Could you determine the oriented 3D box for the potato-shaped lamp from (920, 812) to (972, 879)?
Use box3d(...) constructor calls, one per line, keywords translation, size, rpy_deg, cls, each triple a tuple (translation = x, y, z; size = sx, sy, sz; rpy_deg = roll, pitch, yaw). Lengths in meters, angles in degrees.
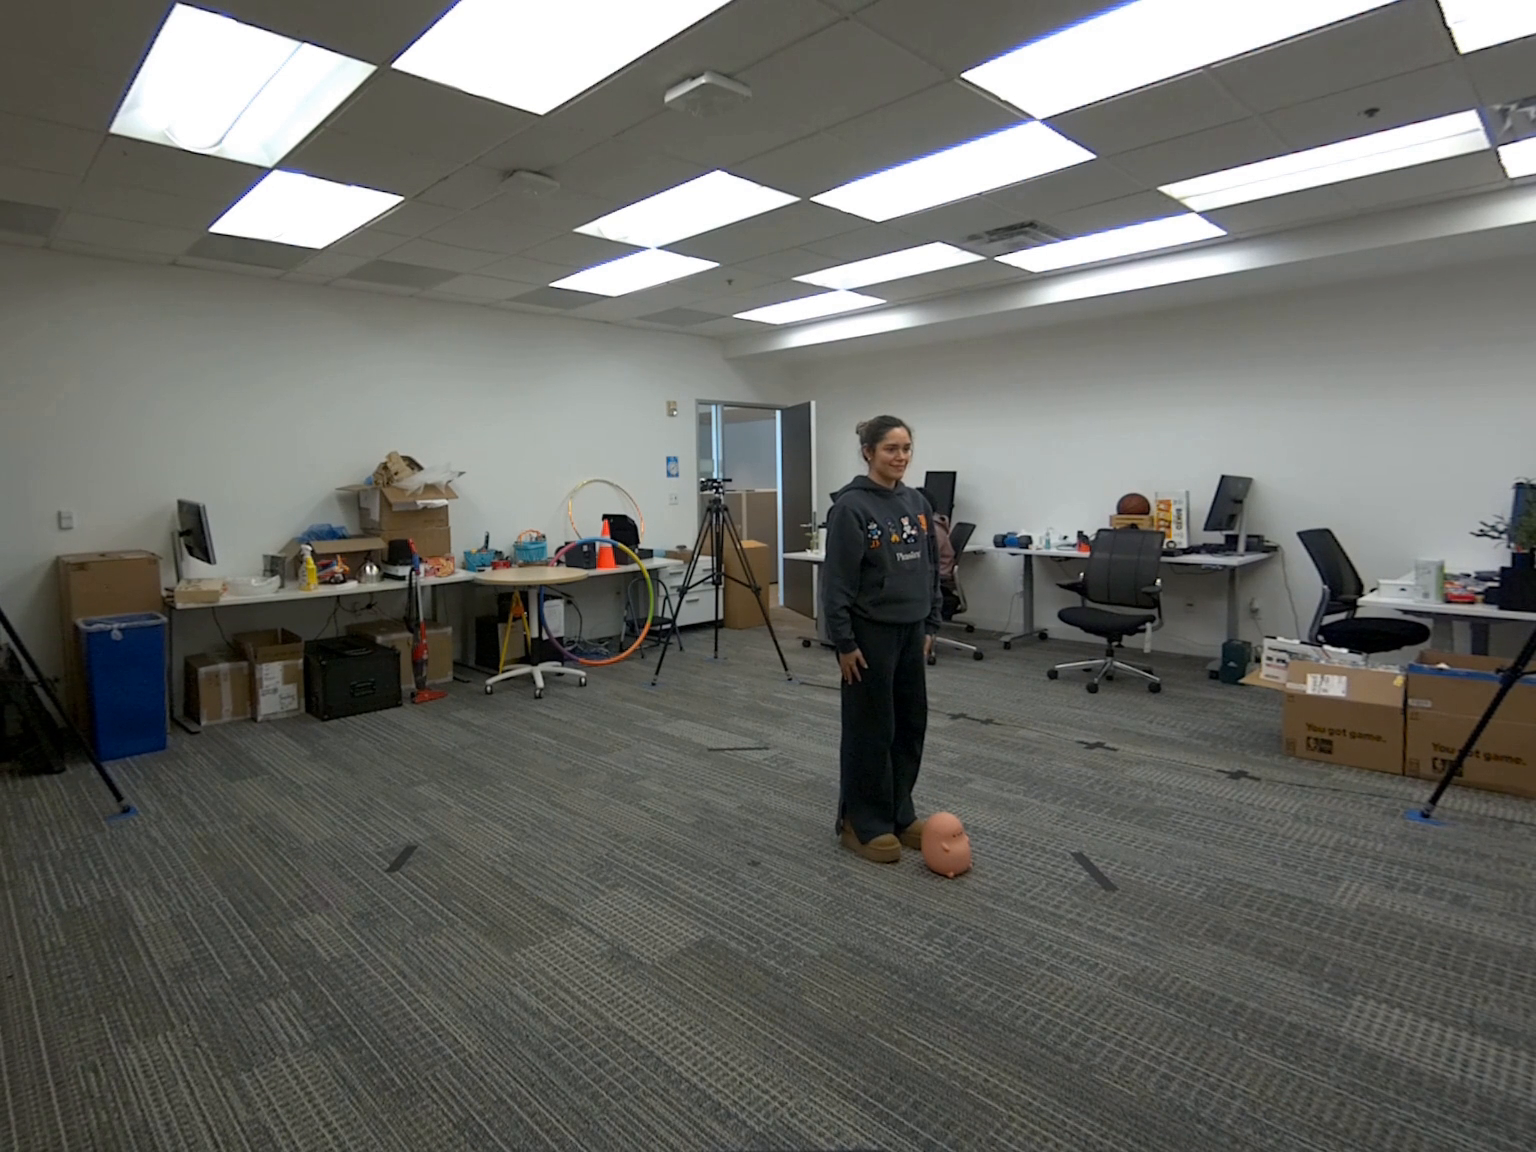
box3d(translation=(0.632, 0.961, 3.012), size=(0.167, 0.198, 0.169), rpy_deg=(-26, 2, 44), cls="potato-shaped lamp")
